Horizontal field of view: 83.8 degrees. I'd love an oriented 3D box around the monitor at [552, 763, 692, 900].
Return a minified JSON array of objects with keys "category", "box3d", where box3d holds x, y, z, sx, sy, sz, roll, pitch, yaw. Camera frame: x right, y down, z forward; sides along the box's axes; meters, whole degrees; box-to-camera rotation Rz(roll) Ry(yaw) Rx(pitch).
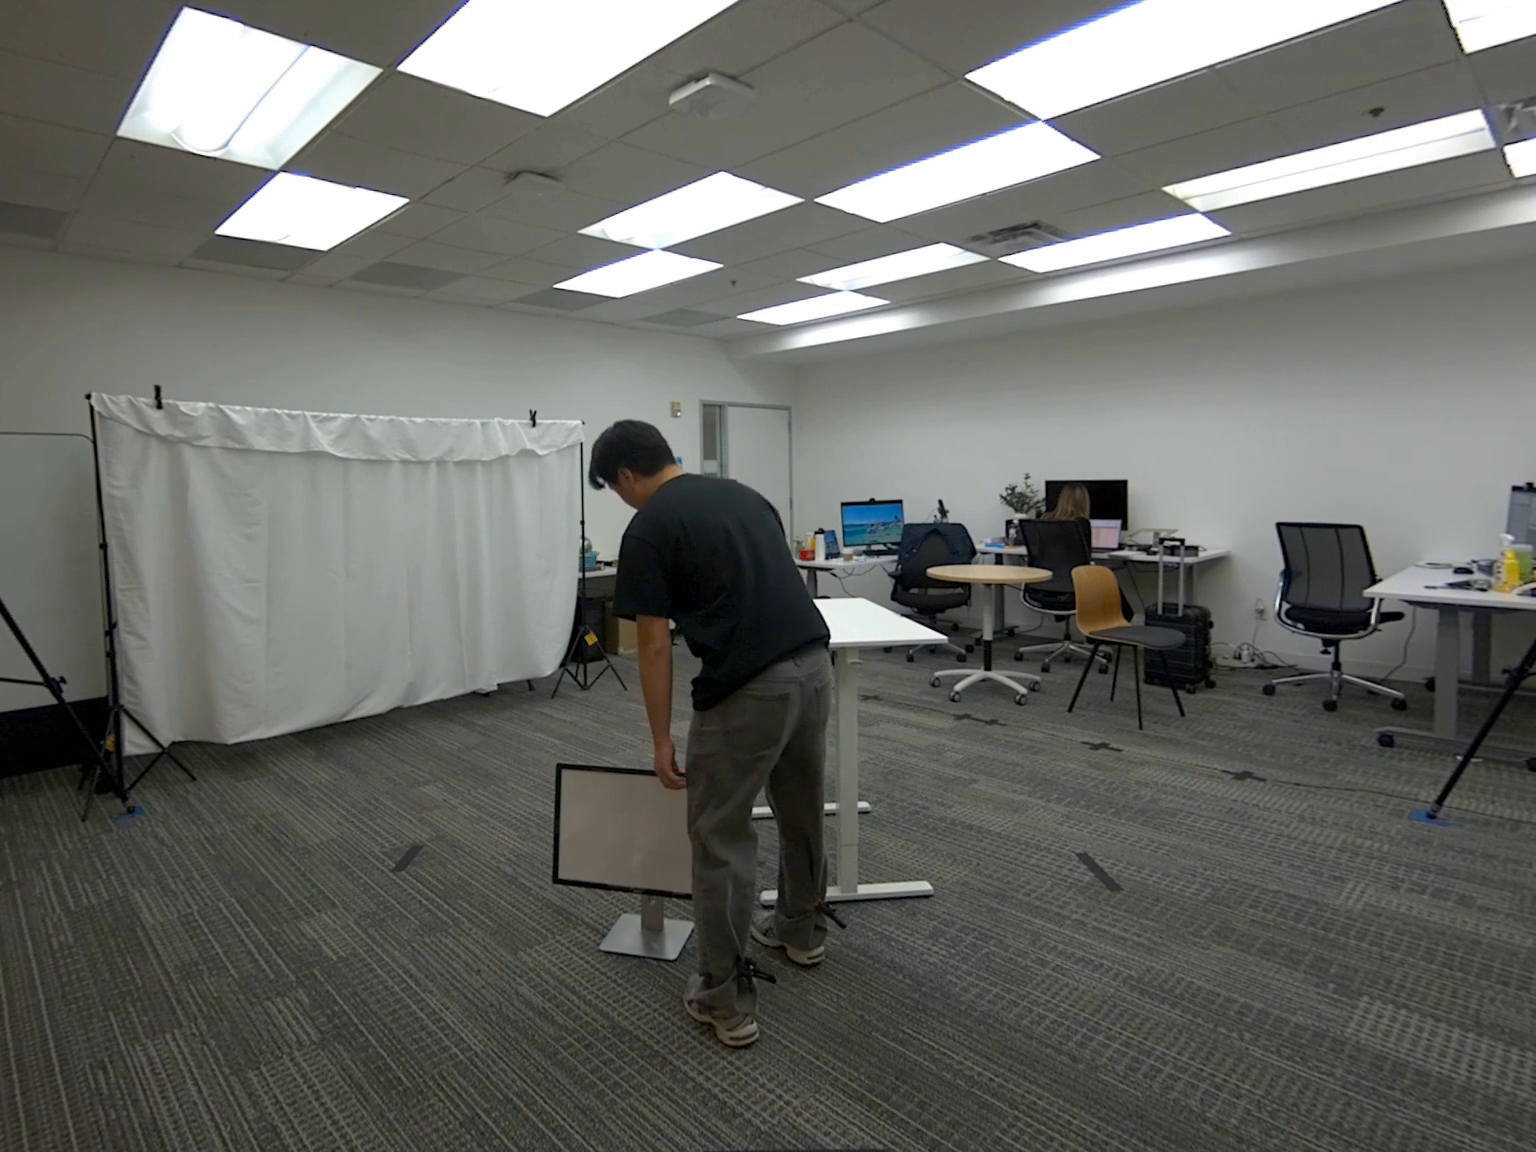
[{"category":"monitor","box3d":[-0.367,0.857,2.591,0.571,0.562,0.220,1,8,17]}]
